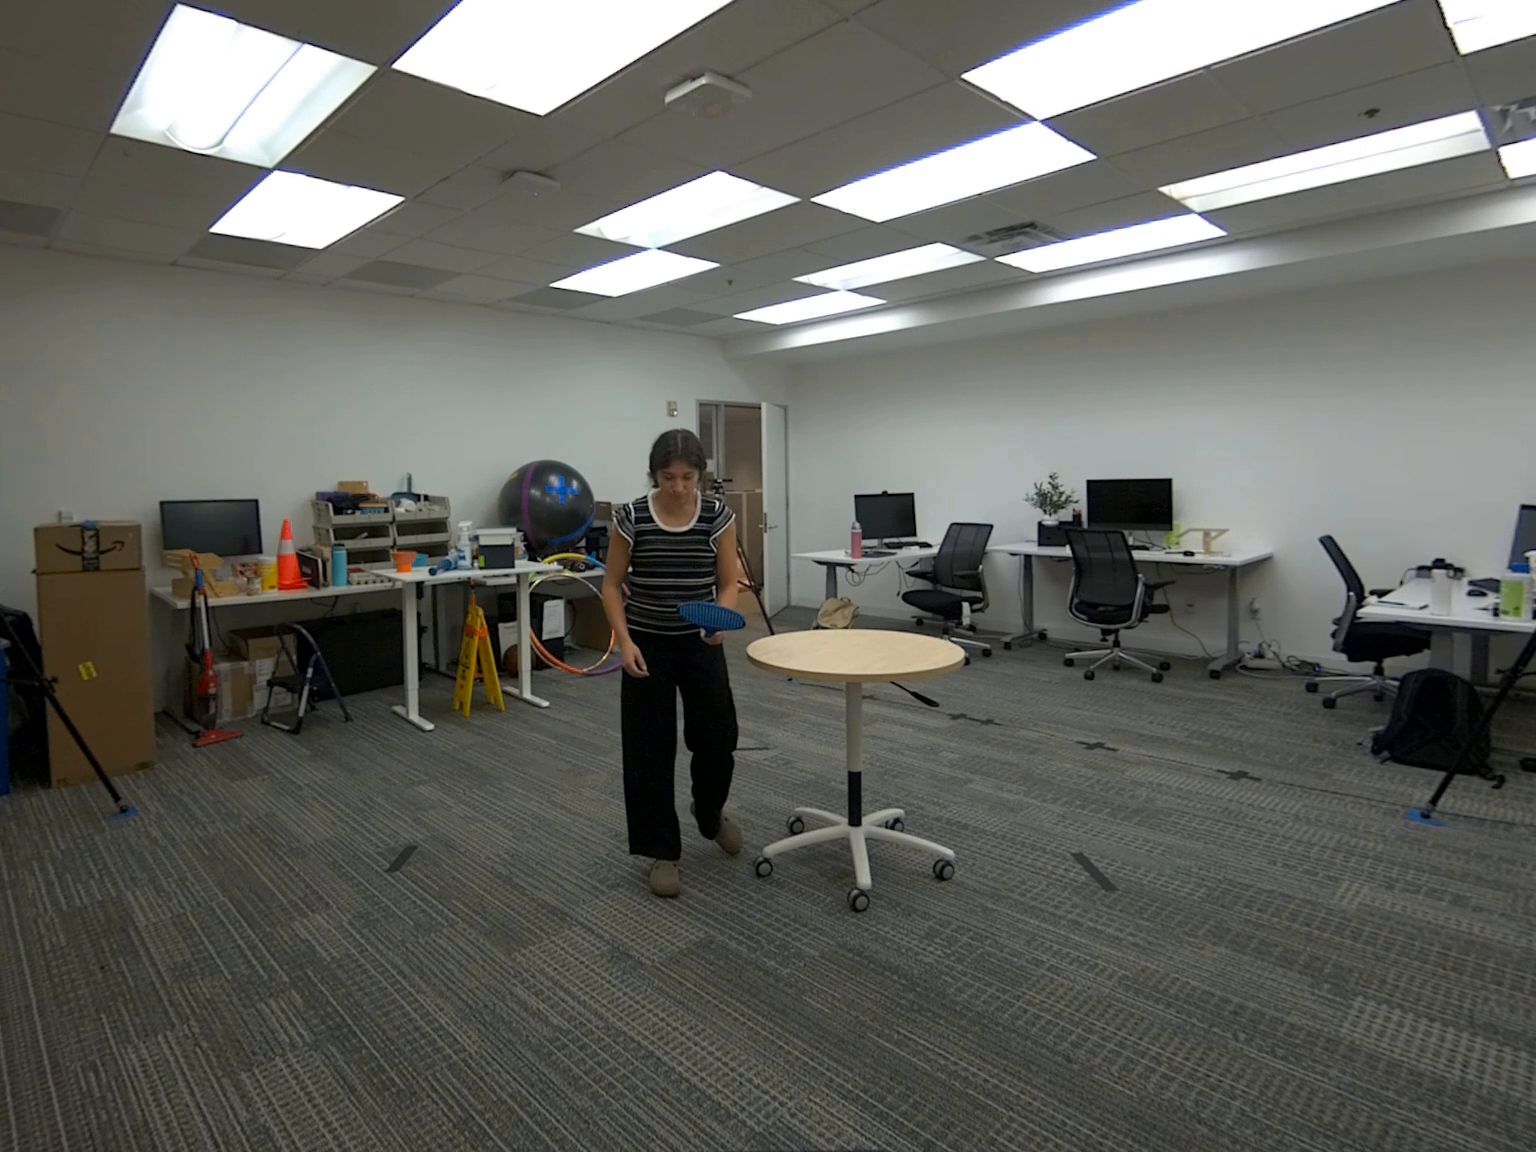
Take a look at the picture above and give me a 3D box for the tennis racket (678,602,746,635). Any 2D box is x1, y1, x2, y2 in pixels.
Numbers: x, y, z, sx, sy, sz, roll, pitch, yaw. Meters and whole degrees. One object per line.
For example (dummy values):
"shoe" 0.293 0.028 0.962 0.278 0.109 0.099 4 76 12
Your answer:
"tennis racket" -0.189 0.146 2.622 0.213 0.032 0.429 15 -19 -5
